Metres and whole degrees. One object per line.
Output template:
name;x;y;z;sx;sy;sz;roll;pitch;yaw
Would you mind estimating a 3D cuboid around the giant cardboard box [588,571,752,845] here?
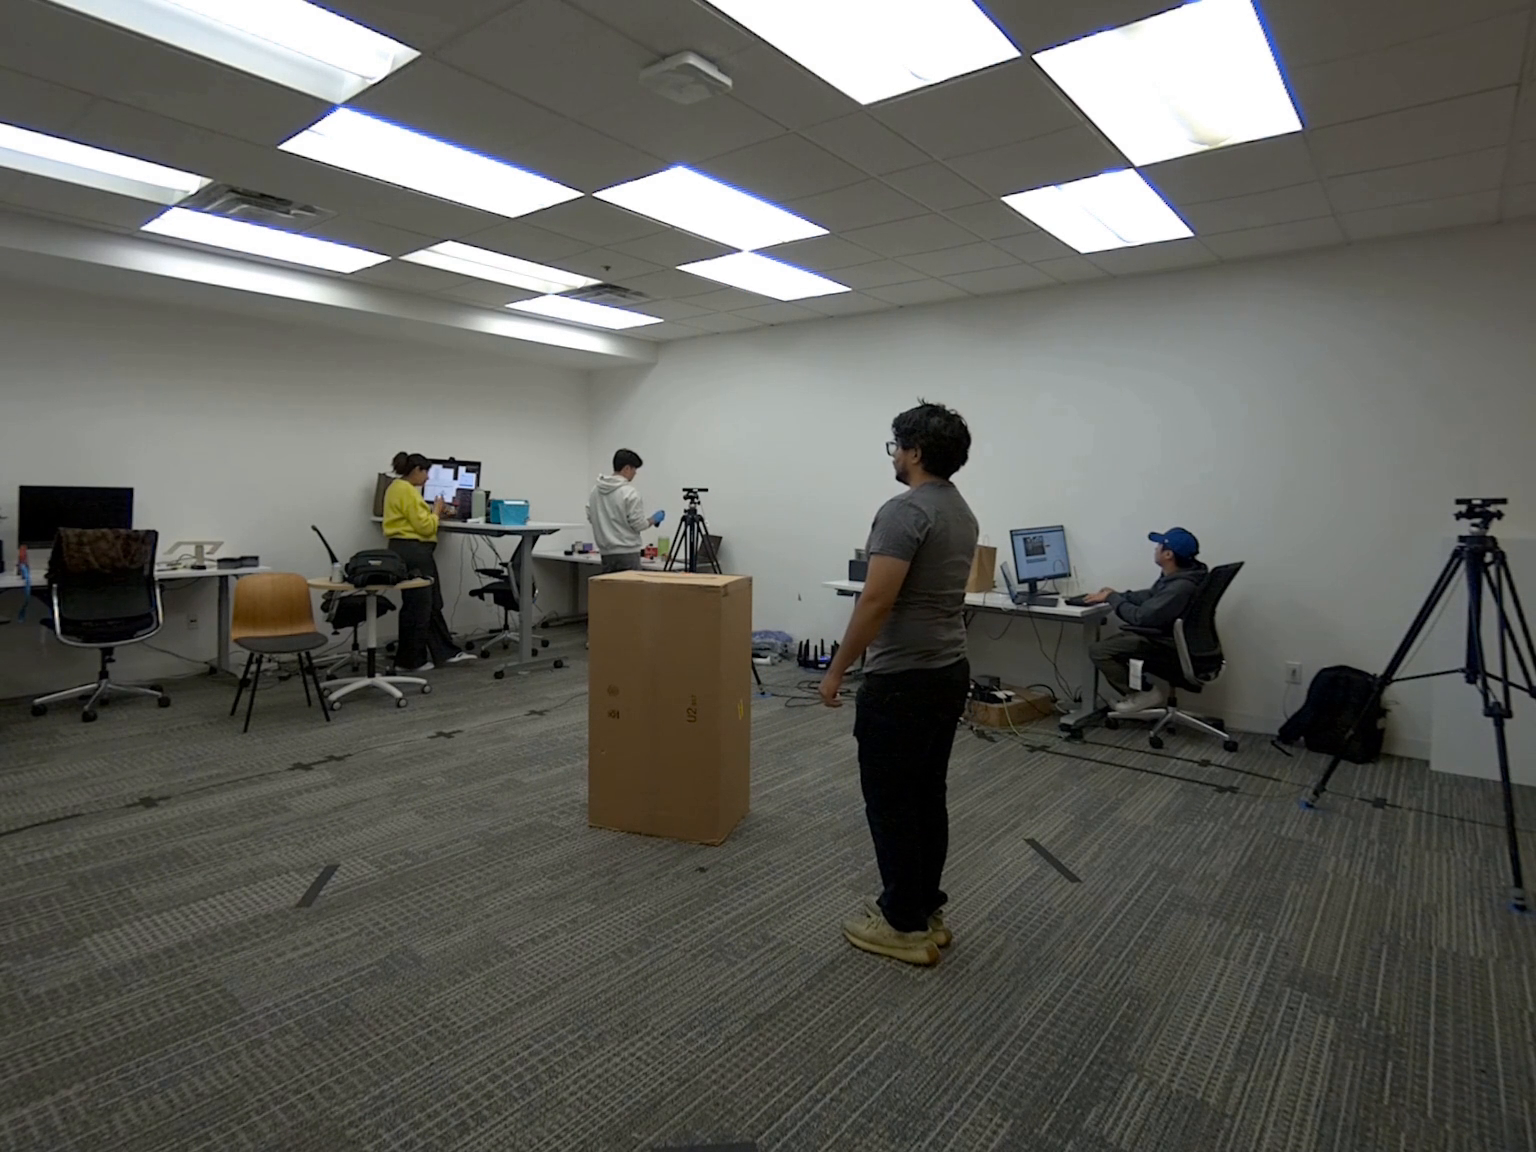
giant cardboard box;-0.415;0.511;3.581;0.589;1.023;0.418;2;3;19
